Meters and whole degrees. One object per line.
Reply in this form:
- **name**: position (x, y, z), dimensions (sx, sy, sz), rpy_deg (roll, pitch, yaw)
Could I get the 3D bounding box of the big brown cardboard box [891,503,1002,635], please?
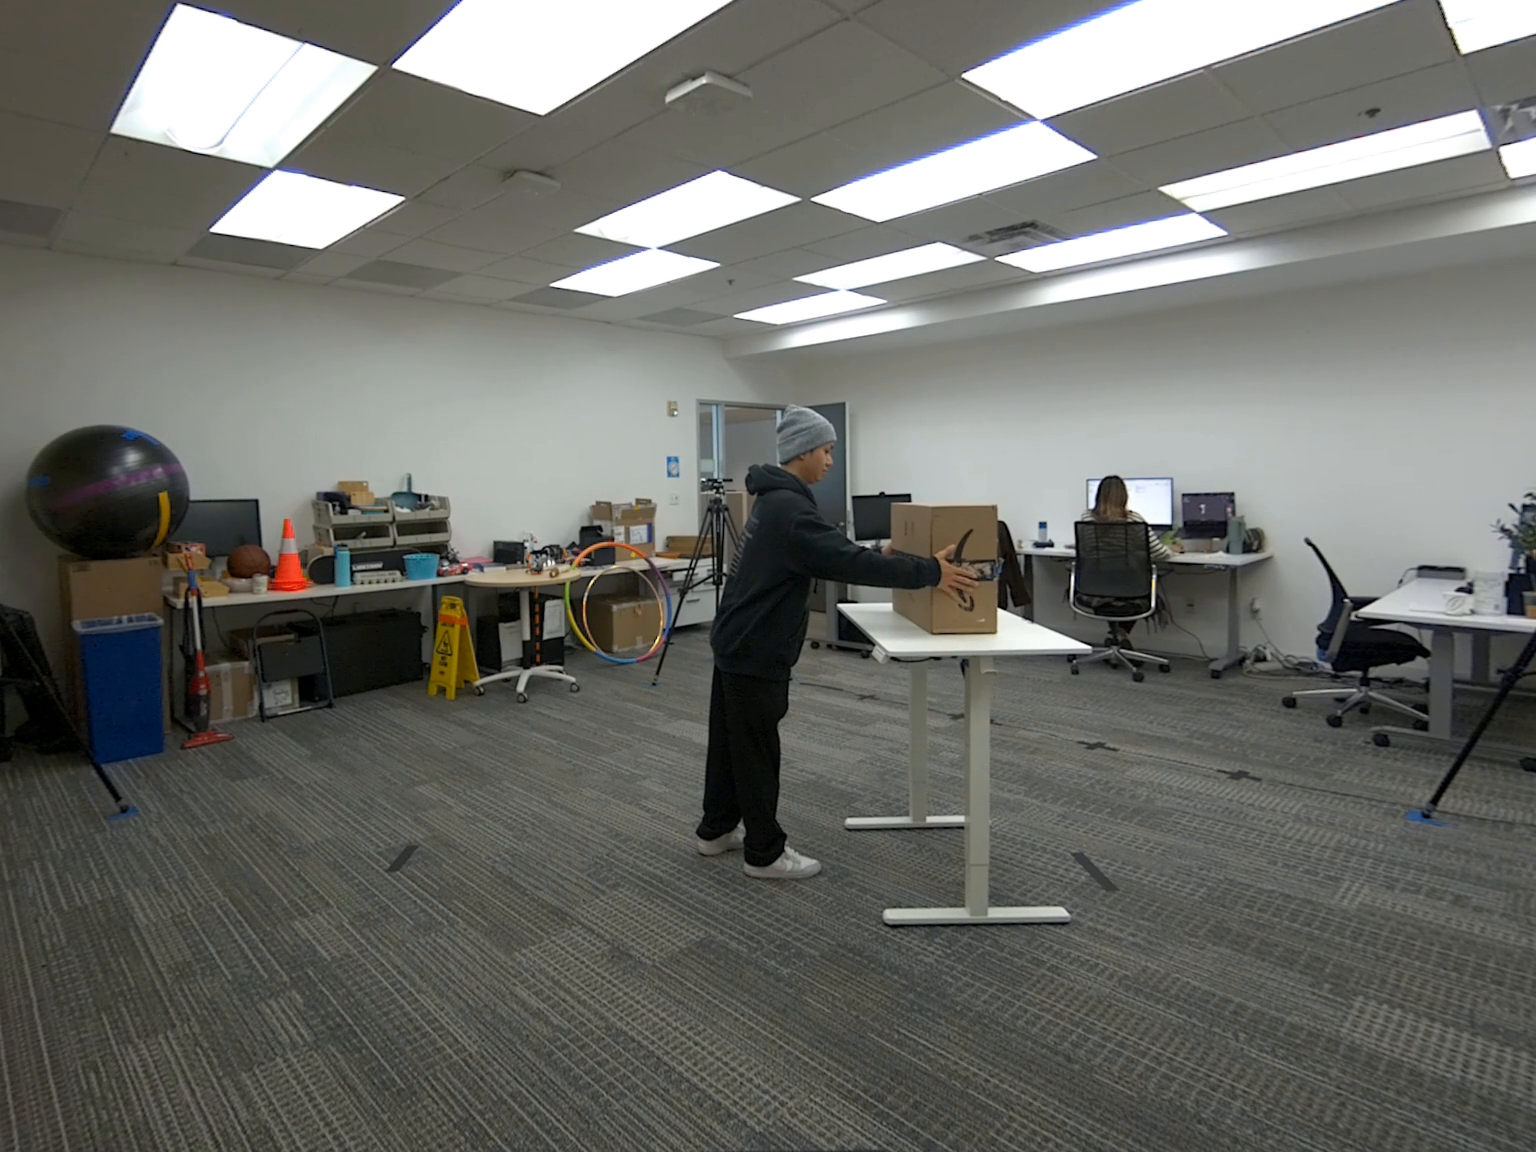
- **big brown cardboard box**: position (0.607, -0.048, 3.017), dimensions (0.232, 0.416, 0.594), rpy_deg (-1, 5, -5)
